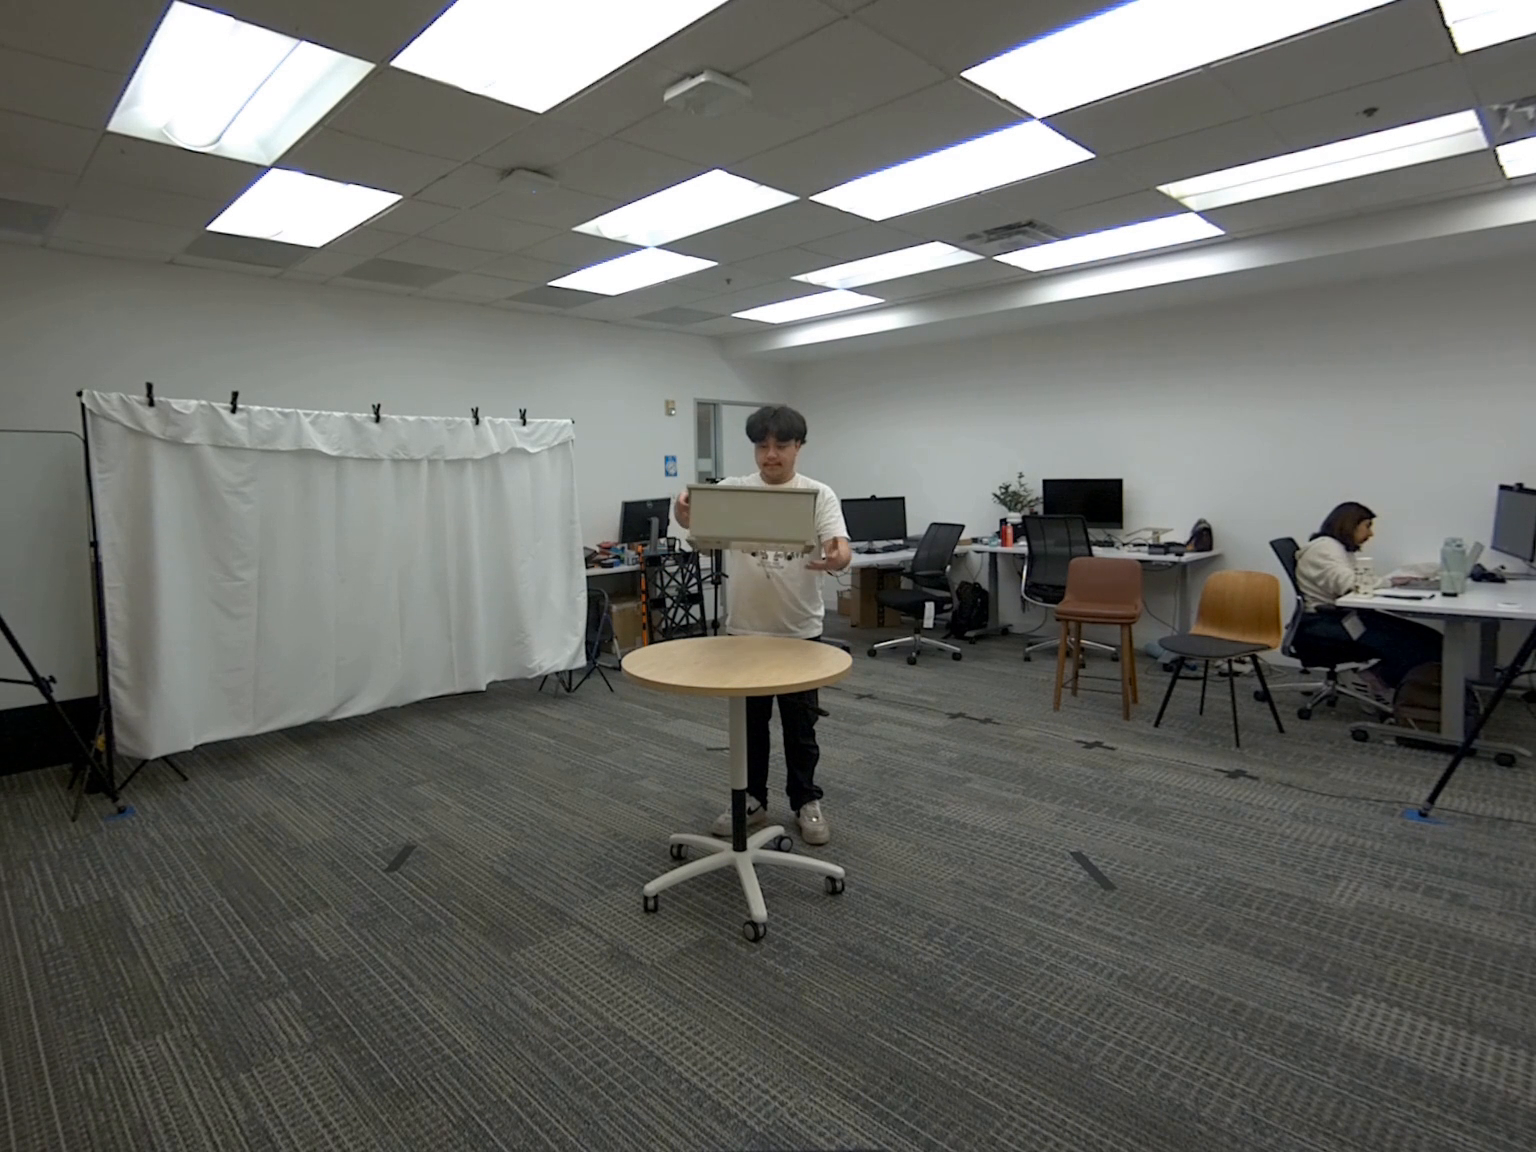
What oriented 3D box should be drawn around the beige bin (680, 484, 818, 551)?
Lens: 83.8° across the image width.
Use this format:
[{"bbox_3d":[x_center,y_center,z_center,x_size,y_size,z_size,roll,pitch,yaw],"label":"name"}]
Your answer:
[{"bbox_3d":[-0.049,-0.183,2.863,0.425,0.189,0.374,3,-1,5],"label":"beige bin"}]
